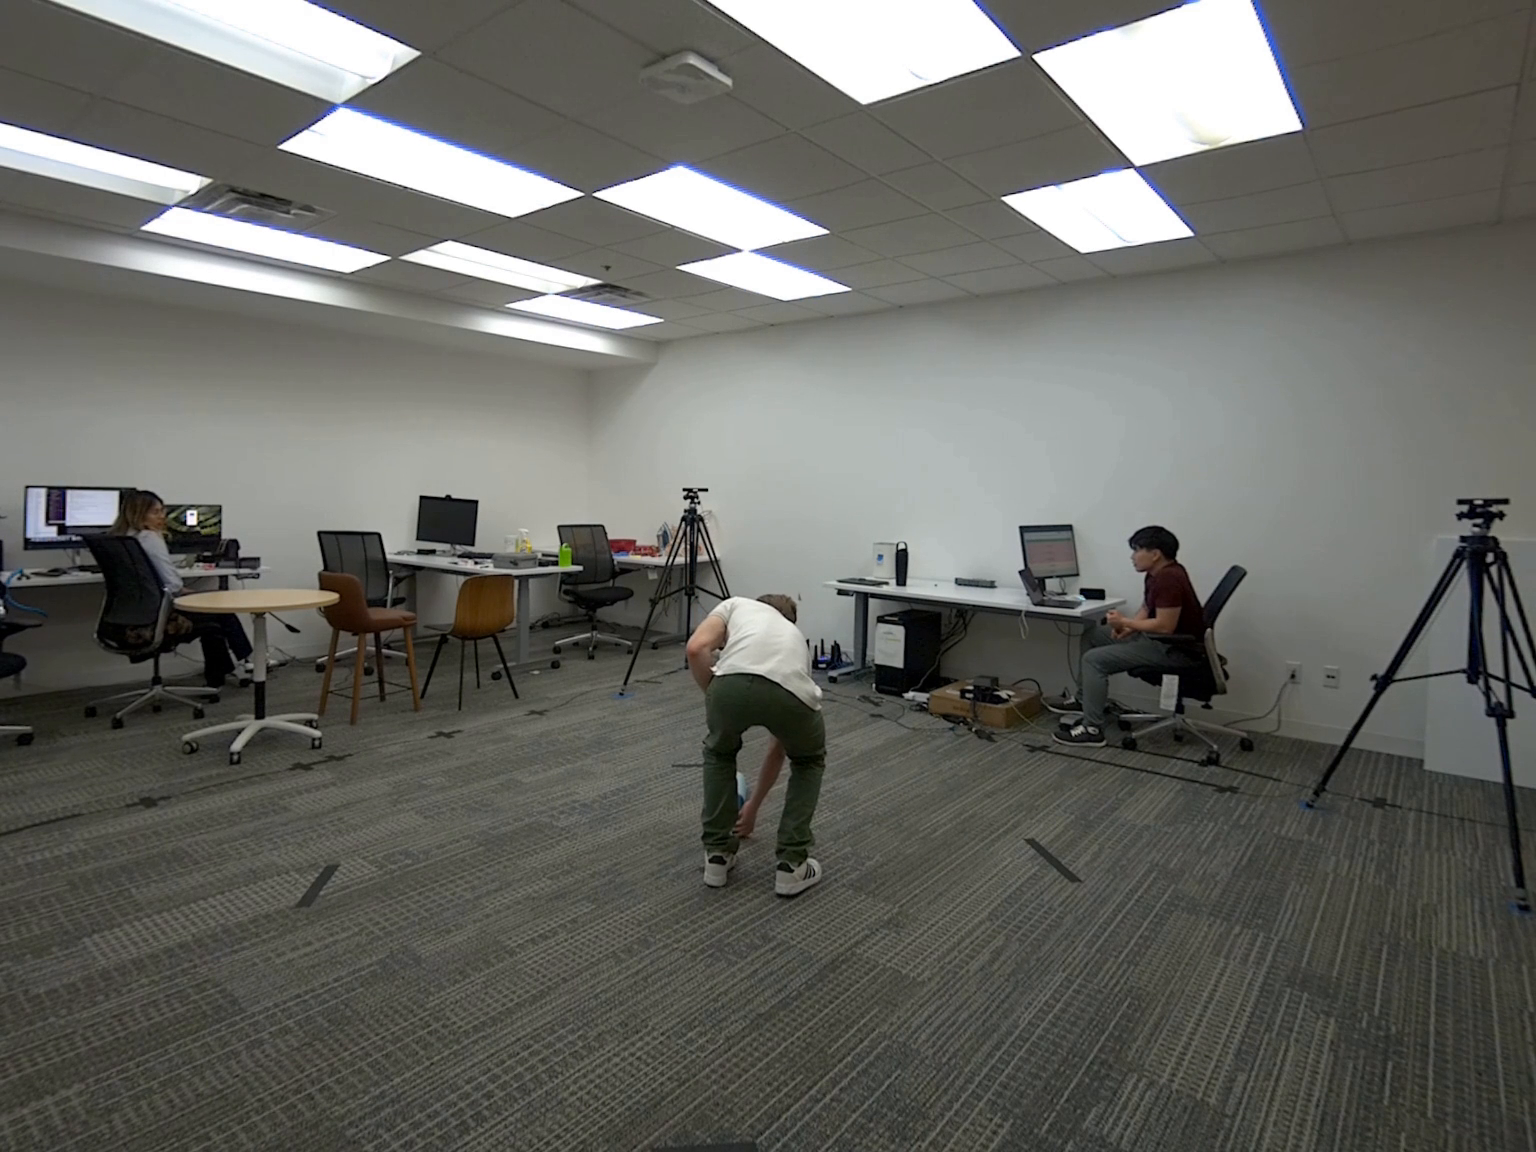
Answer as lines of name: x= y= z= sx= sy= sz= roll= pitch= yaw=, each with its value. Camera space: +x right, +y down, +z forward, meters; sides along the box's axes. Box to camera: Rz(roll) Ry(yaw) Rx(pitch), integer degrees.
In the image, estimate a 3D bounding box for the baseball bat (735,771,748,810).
baseball bat: x=-0.139 y=0.979 z=3.671 sx=0.089 sy=0.088 sz=0.547 roll=1 pitch=9 yaw=-2
